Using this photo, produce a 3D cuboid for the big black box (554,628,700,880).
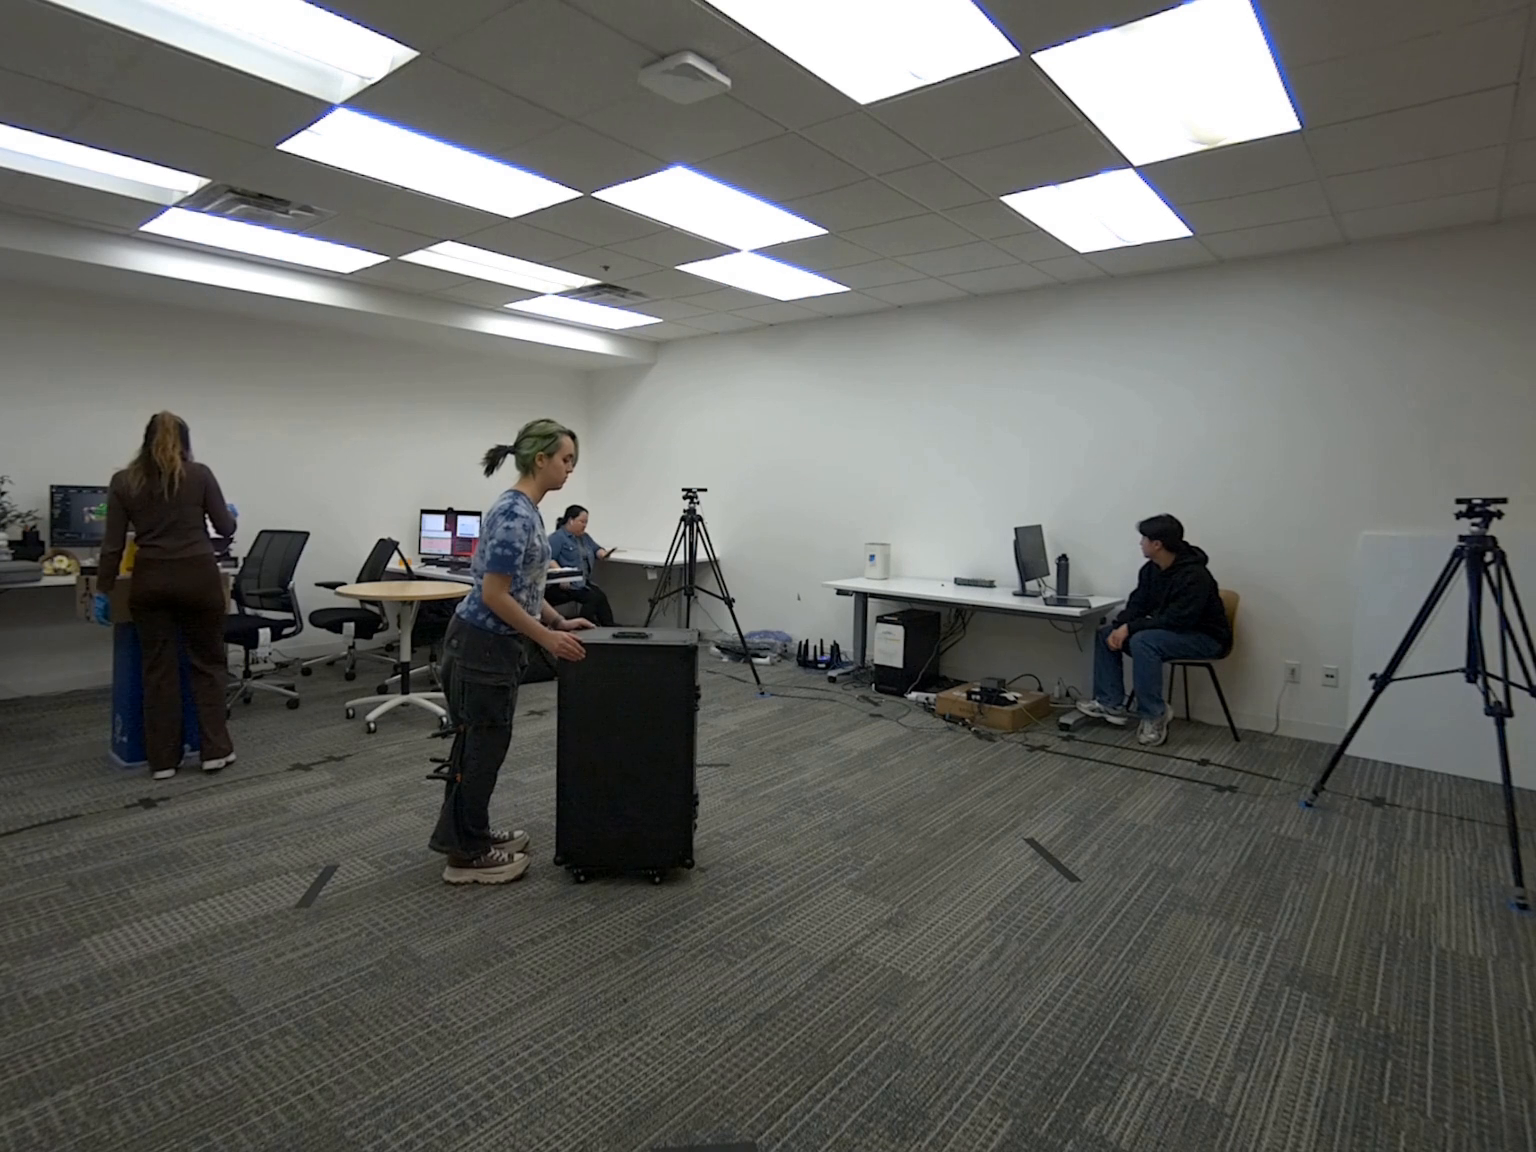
[{"bbox_3d":[-0.514,0.647,3.123,0.522,0.860,0.397,1,2,0],"label":"big black box"}]
